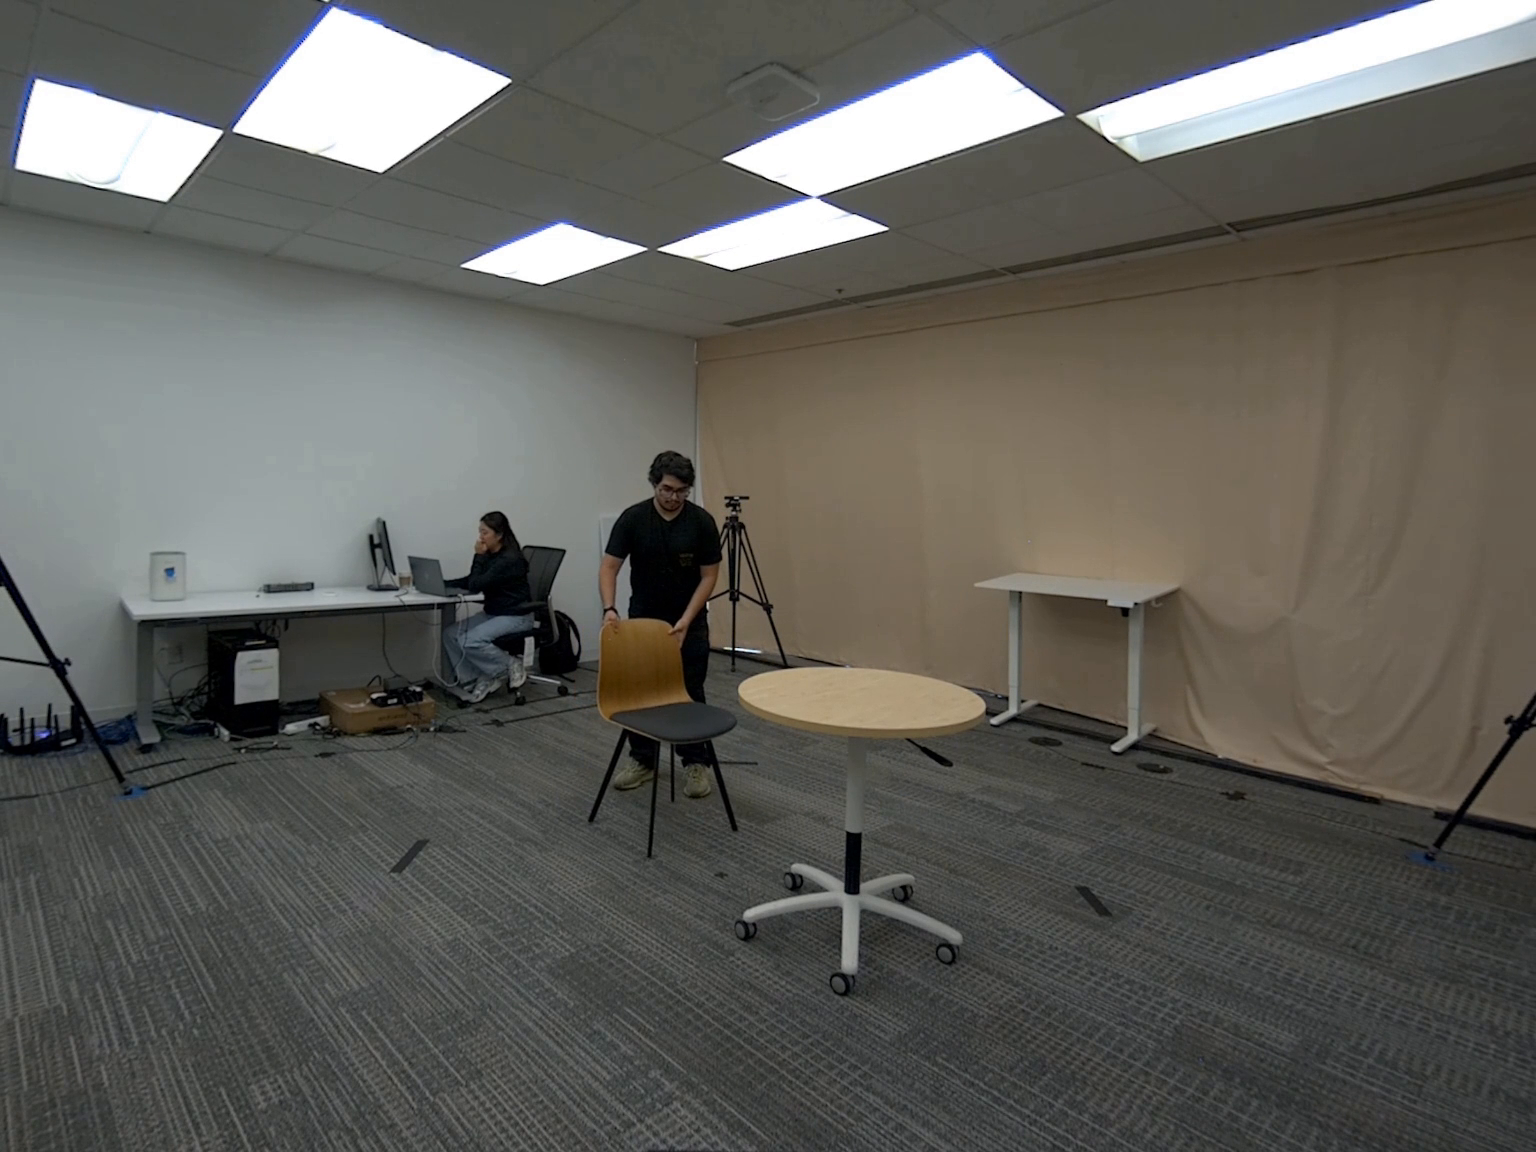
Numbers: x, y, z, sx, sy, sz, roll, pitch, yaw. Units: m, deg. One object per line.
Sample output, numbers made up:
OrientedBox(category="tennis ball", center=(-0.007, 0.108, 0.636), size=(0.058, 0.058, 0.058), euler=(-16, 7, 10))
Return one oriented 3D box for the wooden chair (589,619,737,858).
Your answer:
OrientedBox(category="wooden chair", center=(-0.441, 0.635, 3.509), size=(0.467, 0.878, 0.535), euler=(-1, 0, -42))
